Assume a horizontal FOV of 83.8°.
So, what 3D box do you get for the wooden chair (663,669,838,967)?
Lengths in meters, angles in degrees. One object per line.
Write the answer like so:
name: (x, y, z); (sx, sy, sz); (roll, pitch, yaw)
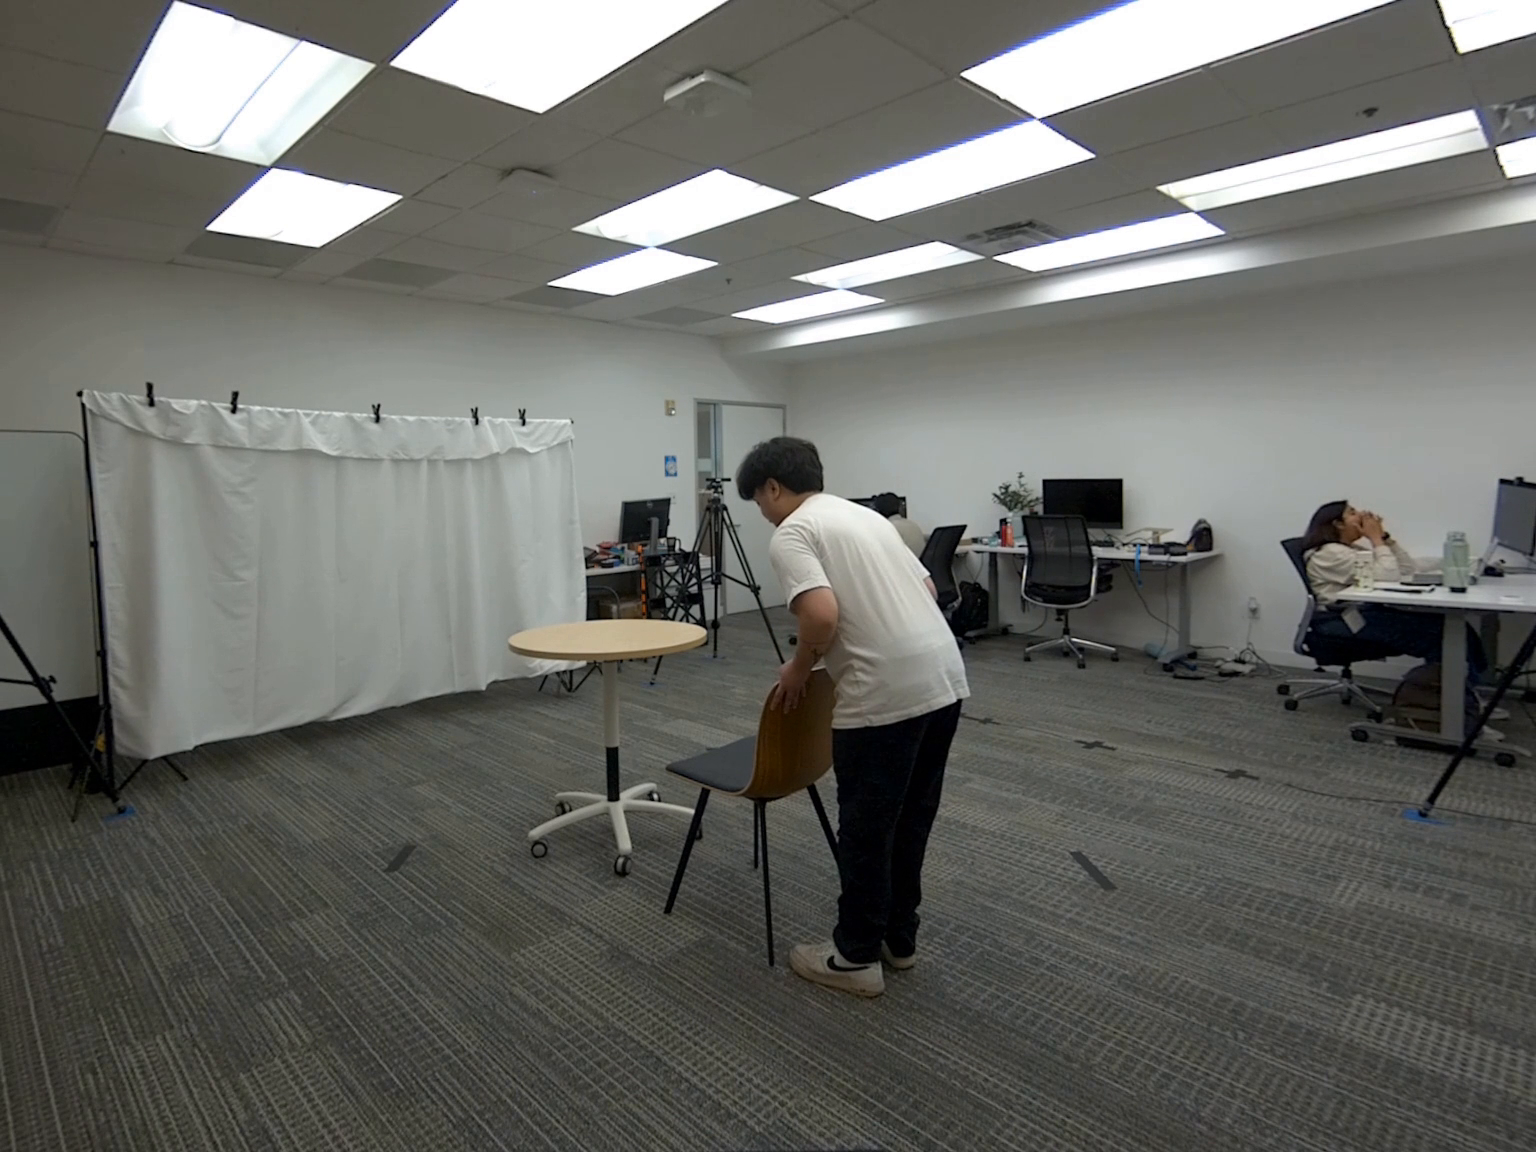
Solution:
wooden chair: (-0.029, 0.657, 2.734); (0.540, 0.872, 0.466); (9, 10, 42)
